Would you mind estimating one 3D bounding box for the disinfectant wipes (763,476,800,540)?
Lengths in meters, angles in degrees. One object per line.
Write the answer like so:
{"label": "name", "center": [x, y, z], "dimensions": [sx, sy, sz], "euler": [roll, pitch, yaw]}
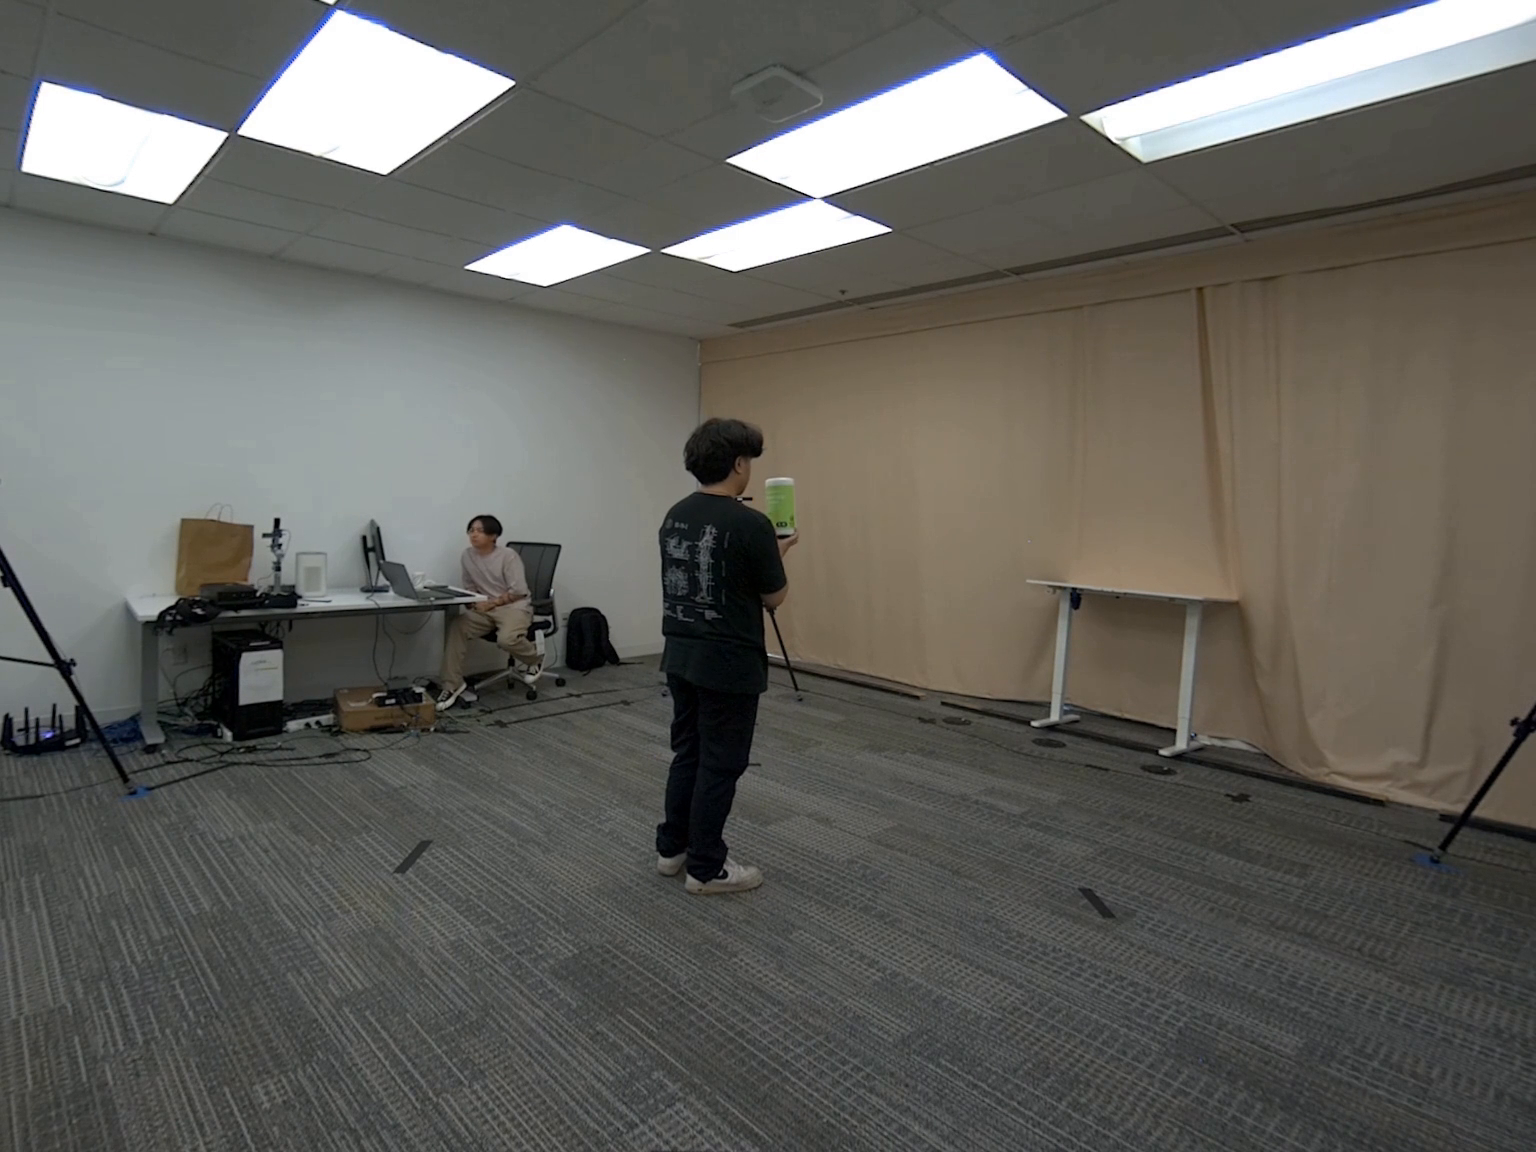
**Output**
{"label": "disinfectant wipes", "center": [0.048, -0.255, 3.179], "dimensions": [0.118, 0.218, 0.117], "euler": [-3, -6, -2]}
